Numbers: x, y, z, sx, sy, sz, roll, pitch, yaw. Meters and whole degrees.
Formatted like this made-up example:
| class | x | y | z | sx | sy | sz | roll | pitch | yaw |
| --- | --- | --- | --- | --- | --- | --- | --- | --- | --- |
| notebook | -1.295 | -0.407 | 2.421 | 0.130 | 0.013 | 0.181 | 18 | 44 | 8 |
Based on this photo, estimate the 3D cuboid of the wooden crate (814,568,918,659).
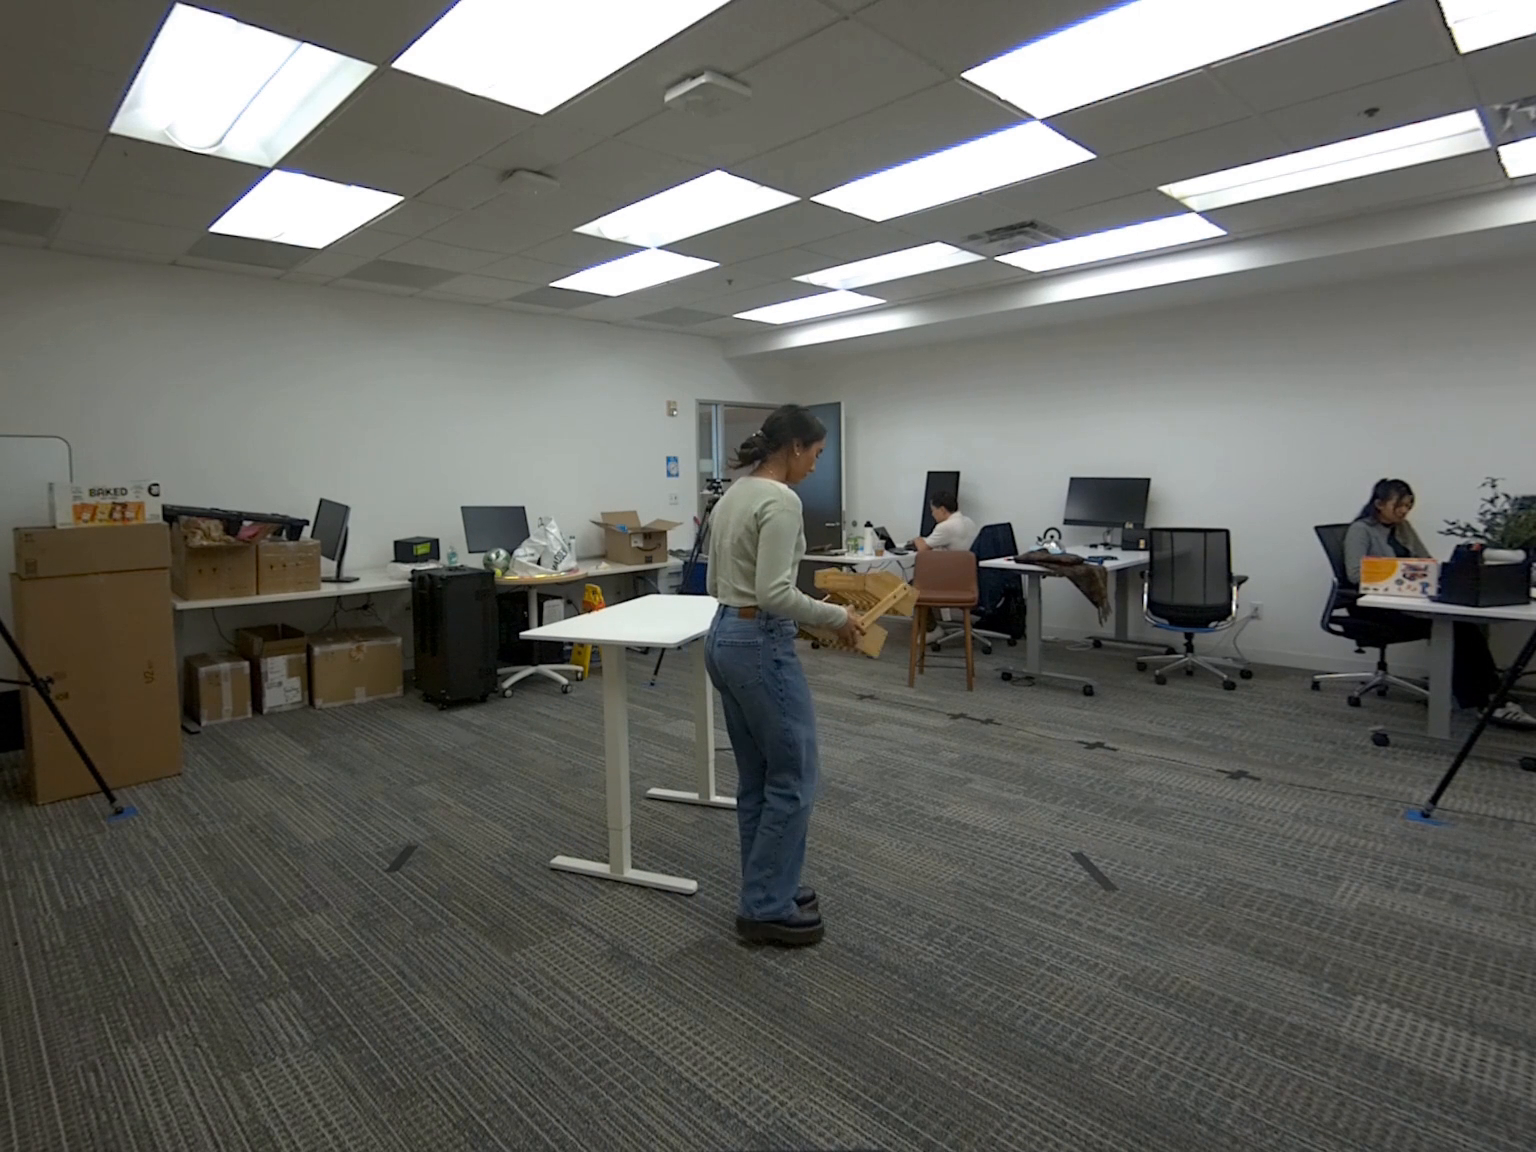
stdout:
| class | x | y | z | sx | sy | sz | roll | pitch | yaw |
| --- | --- | --- | --- | --- | --- | --- | --- | --- | --- |
| wooden crate | 0.249 | 0.089 | 2.777 | 0.294 | 0.274 | 0.332 | 31 | -13 | -24 |
